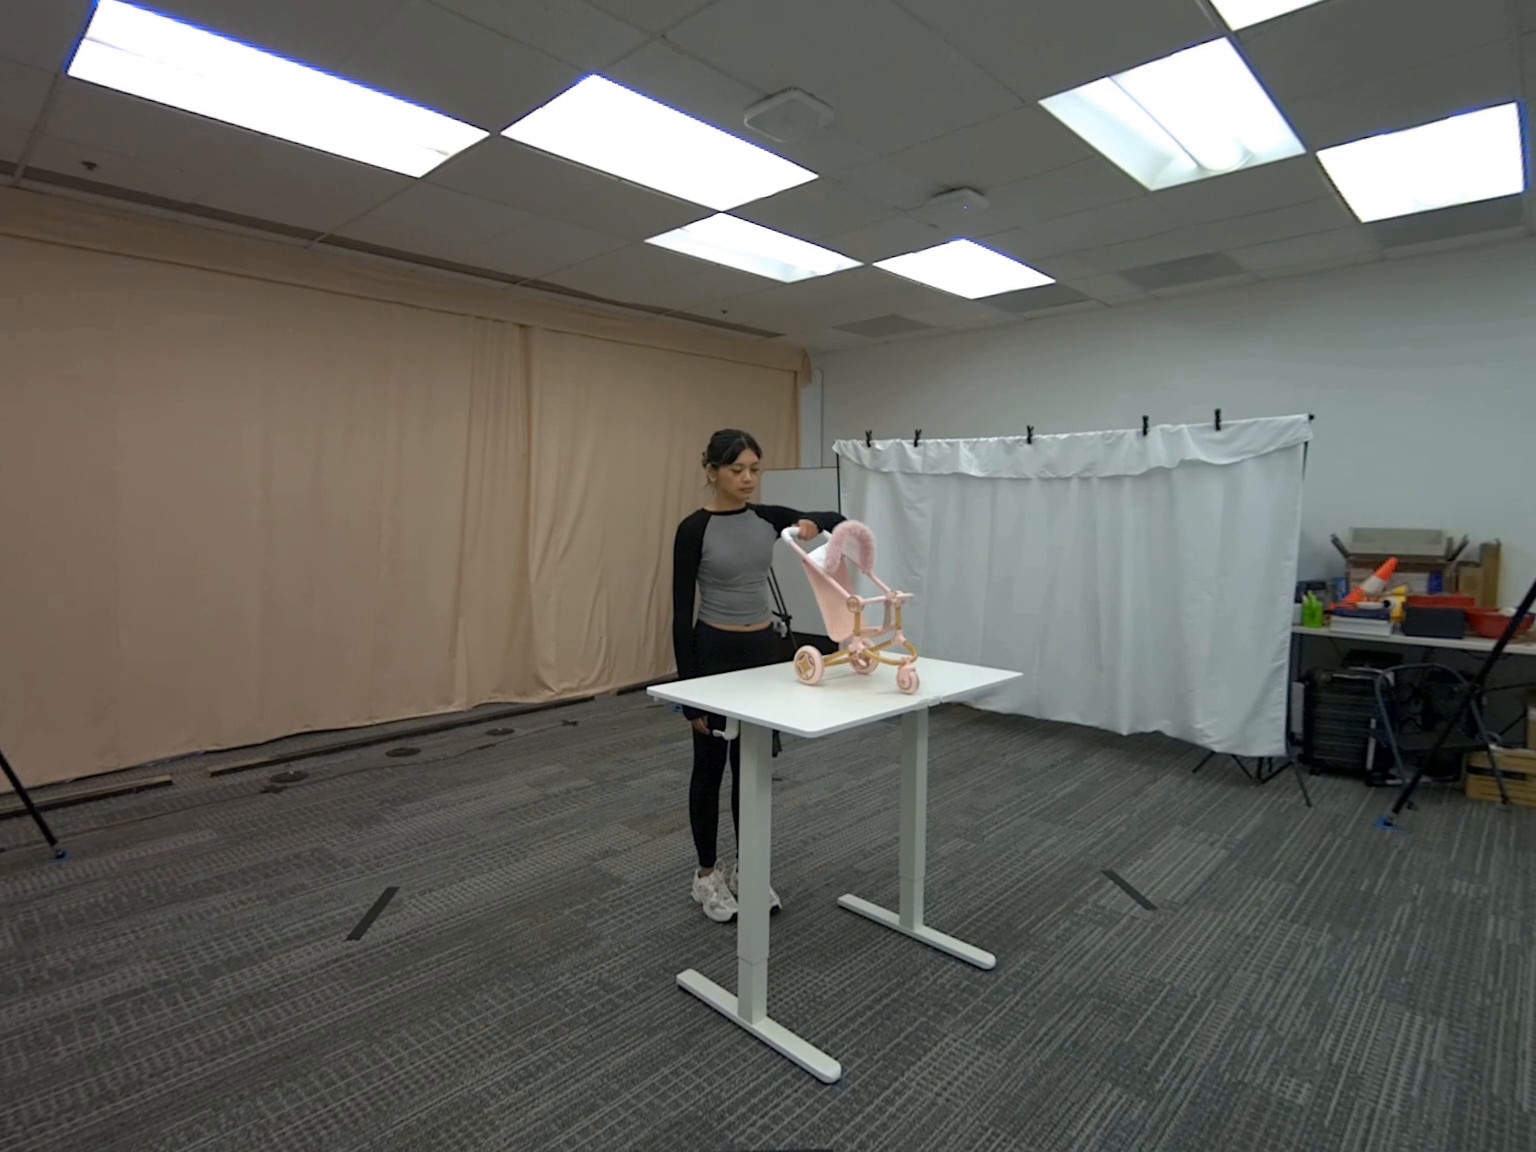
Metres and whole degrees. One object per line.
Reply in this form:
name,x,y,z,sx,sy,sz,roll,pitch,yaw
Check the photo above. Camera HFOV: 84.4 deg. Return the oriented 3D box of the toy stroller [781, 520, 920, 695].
toy stroller,0.251,0.083,2.409,0.273,0.538,0.349,-3,-10,-39
